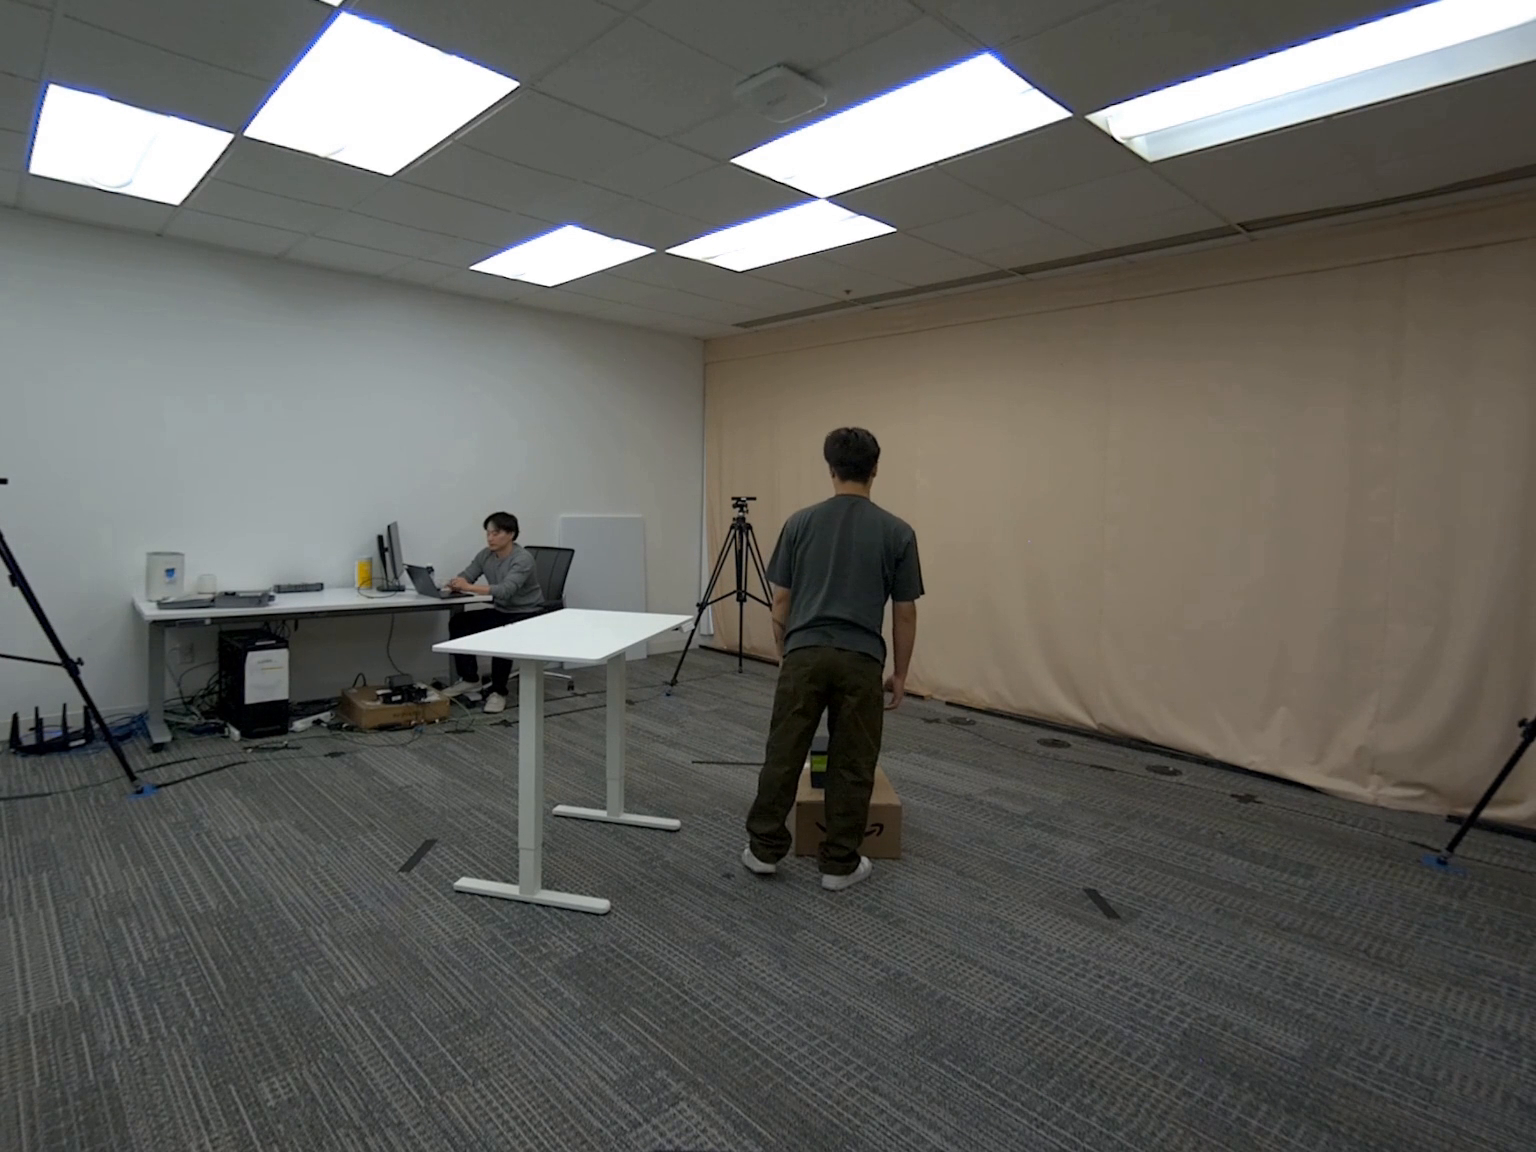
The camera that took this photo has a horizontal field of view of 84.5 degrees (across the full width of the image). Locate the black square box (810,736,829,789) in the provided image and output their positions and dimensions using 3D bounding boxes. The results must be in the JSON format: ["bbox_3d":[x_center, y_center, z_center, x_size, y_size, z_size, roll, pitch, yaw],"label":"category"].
[{"bbox_3d":[0.291,0.778,3.538,0.229,0.155,0.217,1,4,4],"label":"black square box"}]
